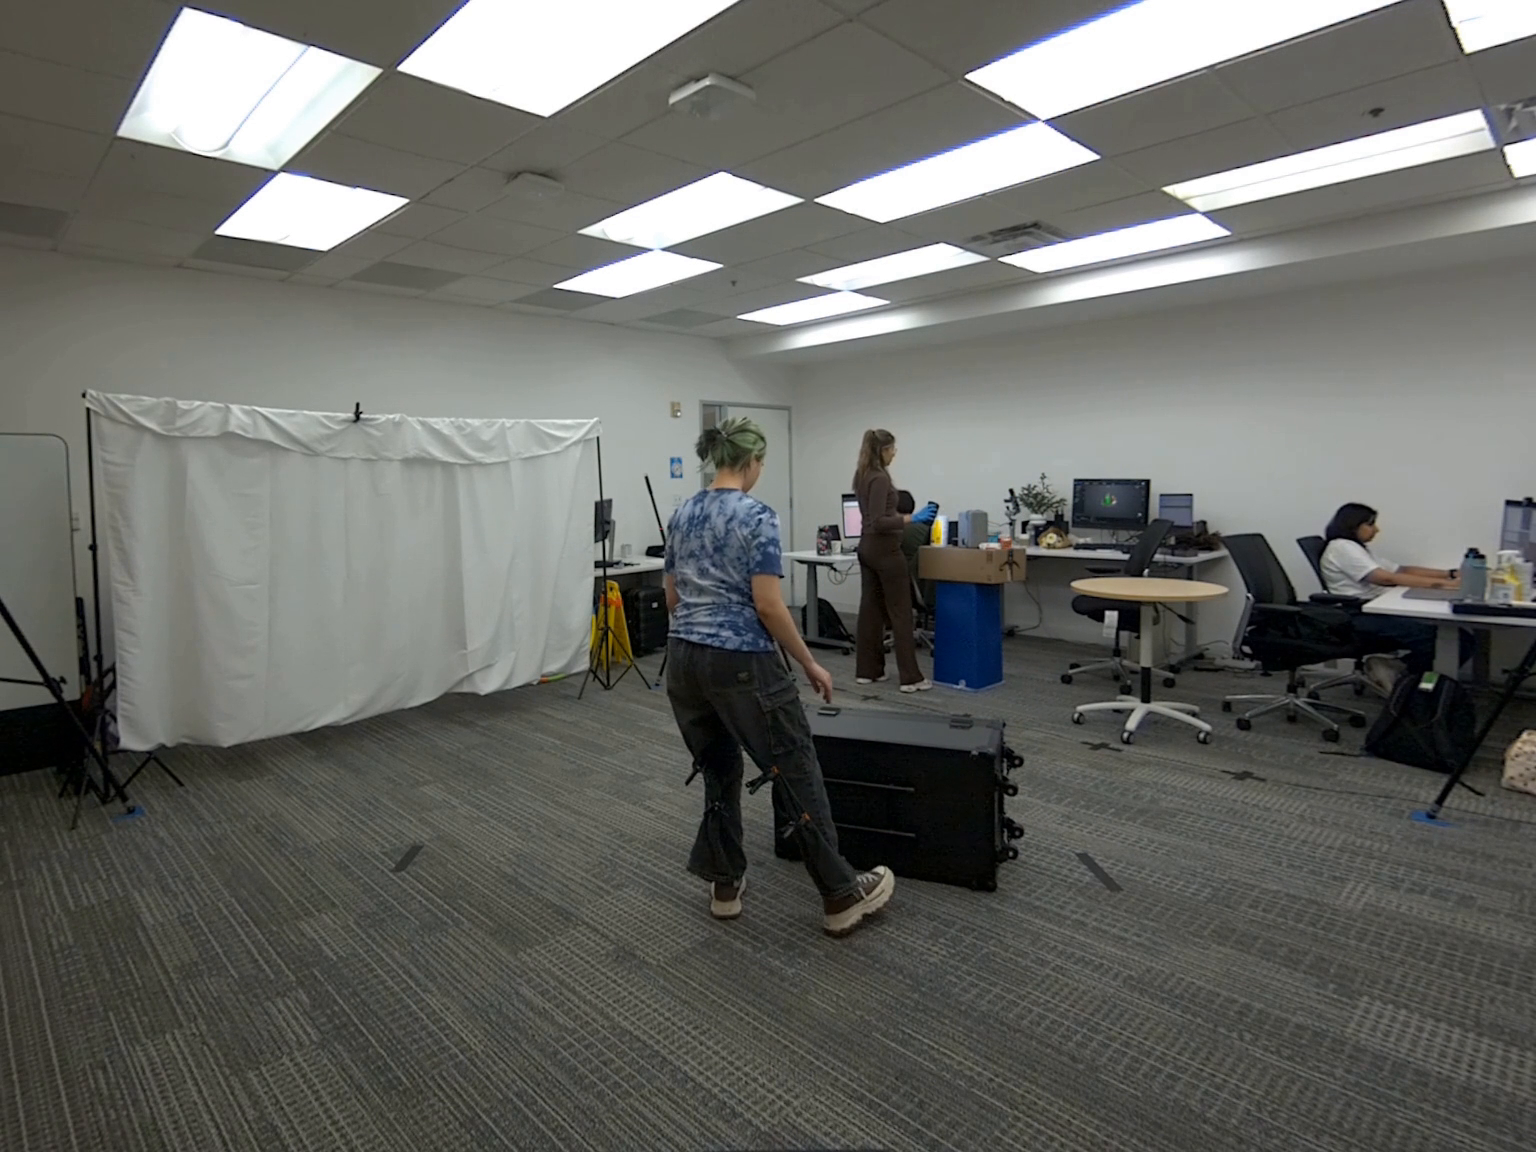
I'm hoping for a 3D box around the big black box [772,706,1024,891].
[{"bbox_3d":[0.472,0.780,3.116,0.879,0.518,0.390,1,7,22],"label":"big black box"}]
